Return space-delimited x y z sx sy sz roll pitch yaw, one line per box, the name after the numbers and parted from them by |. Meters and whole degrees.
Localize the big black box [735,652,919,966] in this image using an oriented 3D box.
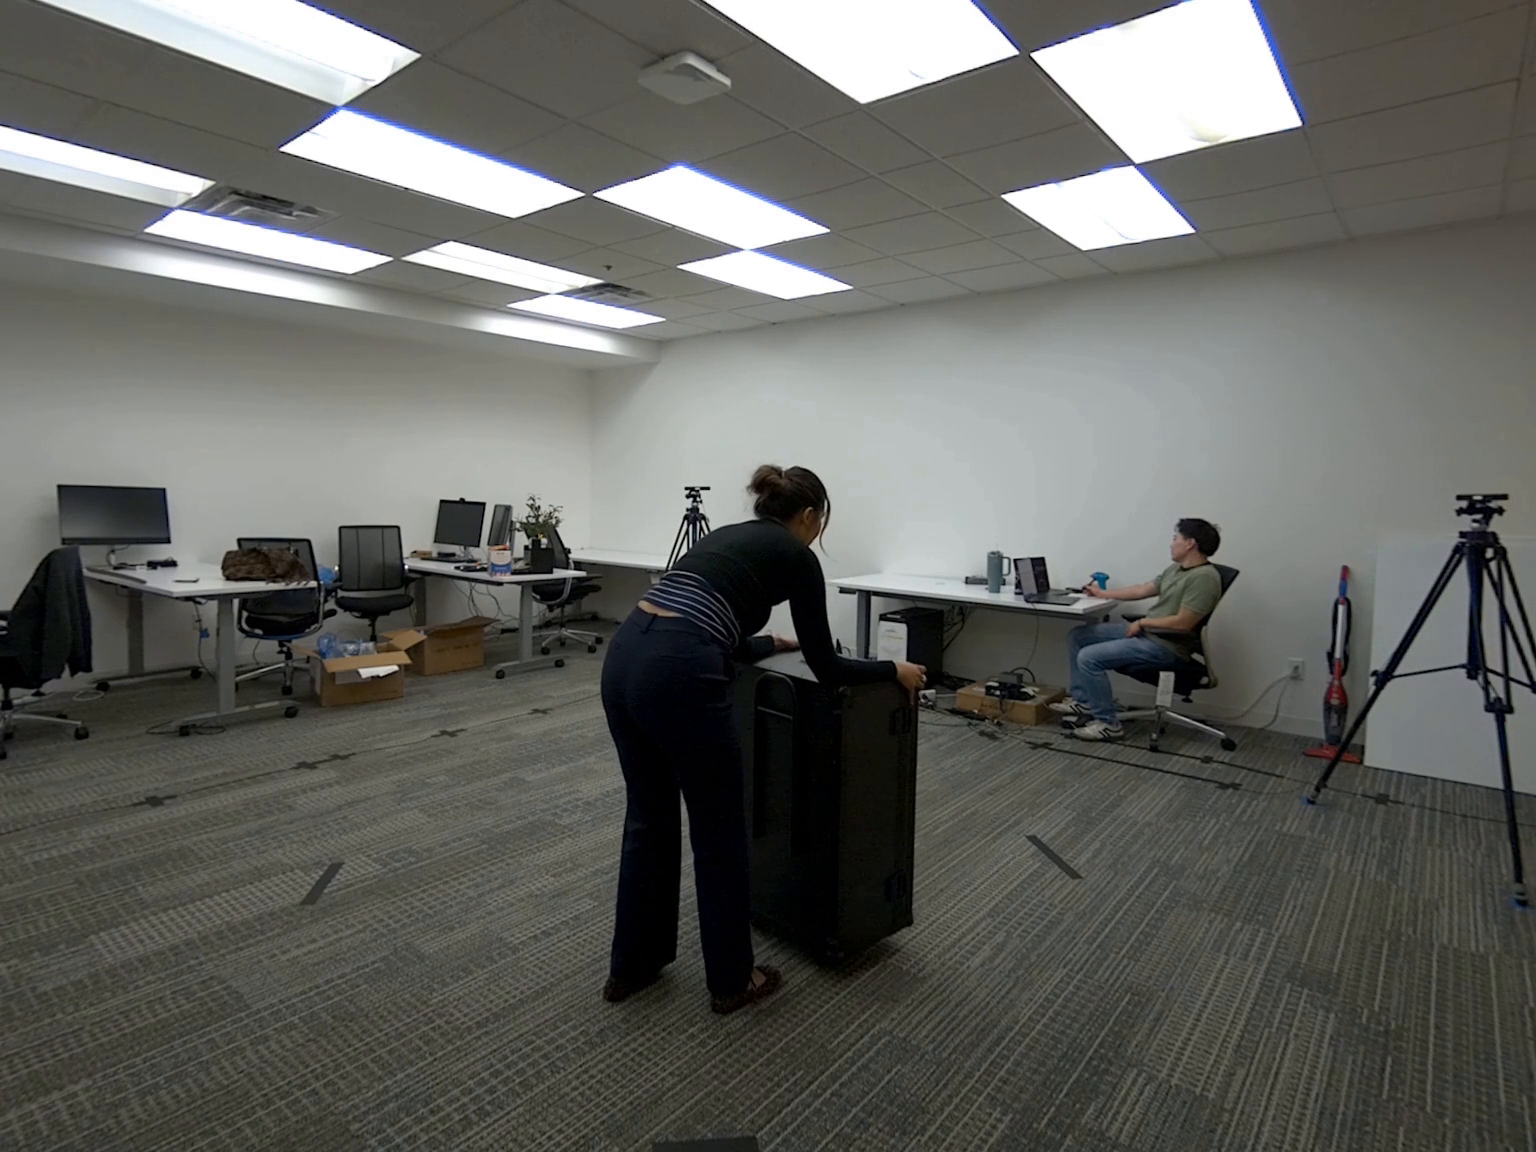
0.149 0.695 2.625 0.385 0.858 0.539 -4 6 -43 | big black box
